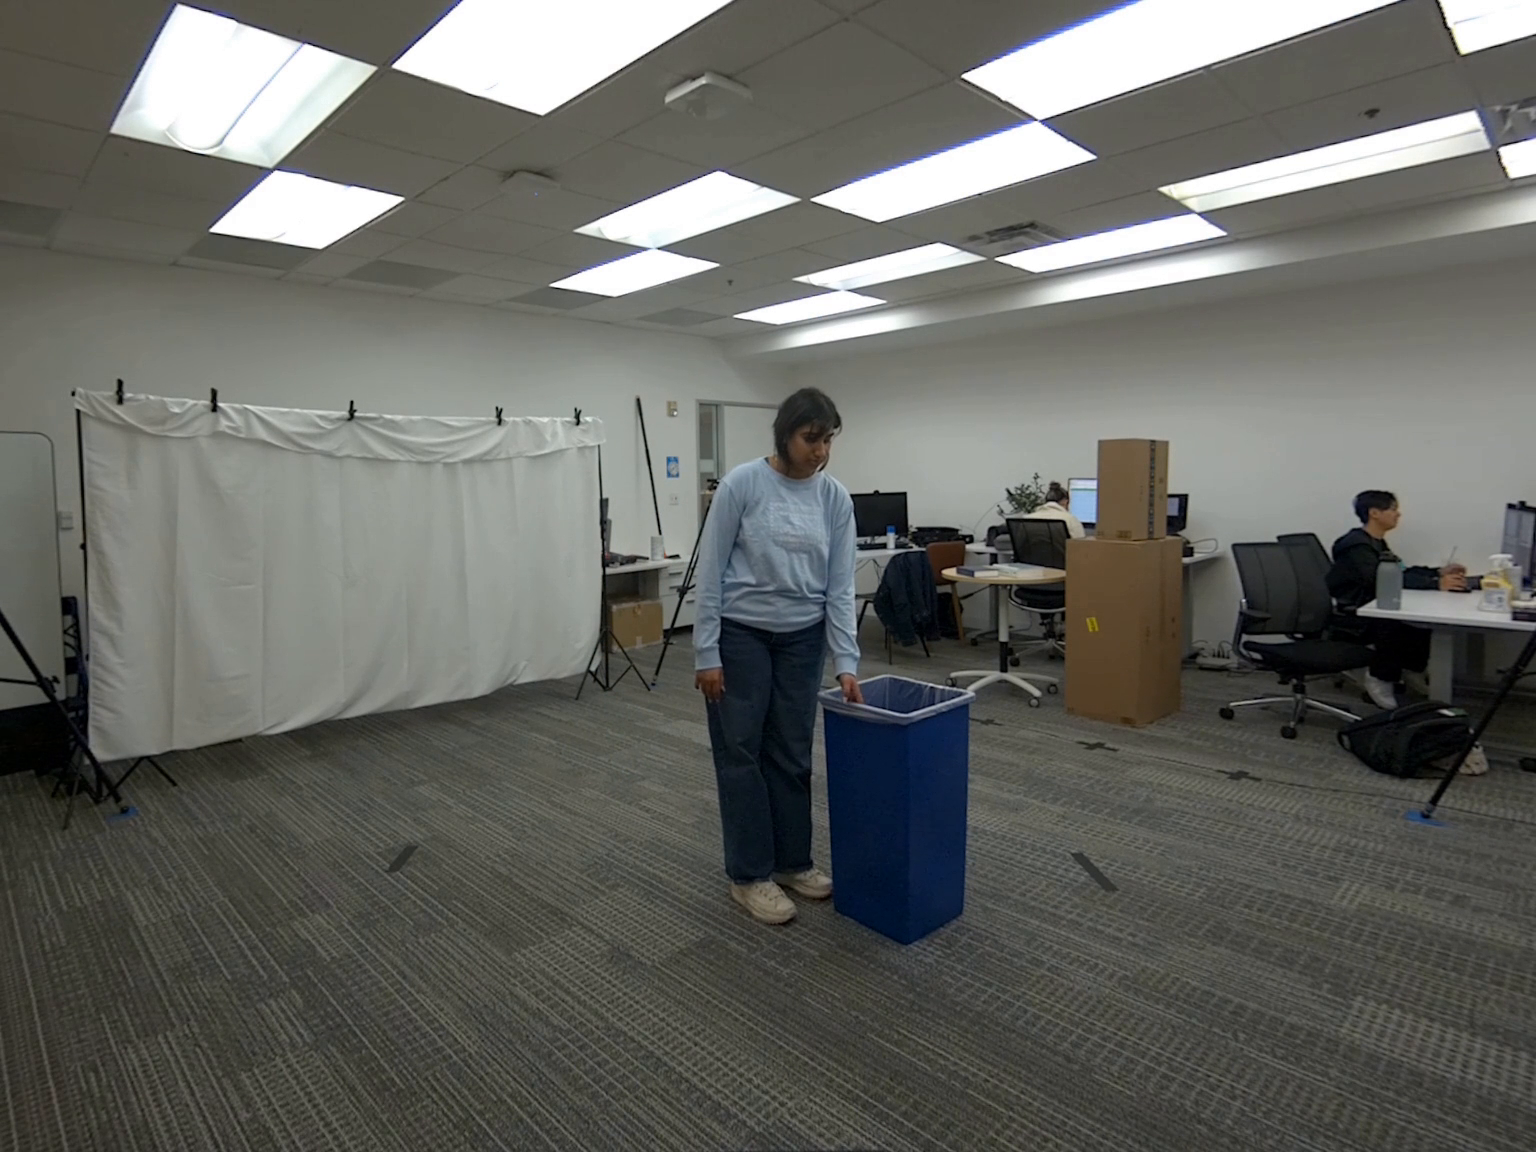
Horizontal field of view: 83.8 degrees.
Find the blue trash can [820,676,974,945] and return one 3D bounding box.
[{"bbox_3d":[0.411,0.722,2.717,0.364,0.711,0.389,-5,5,-42],"label":"blue trash can"}]
